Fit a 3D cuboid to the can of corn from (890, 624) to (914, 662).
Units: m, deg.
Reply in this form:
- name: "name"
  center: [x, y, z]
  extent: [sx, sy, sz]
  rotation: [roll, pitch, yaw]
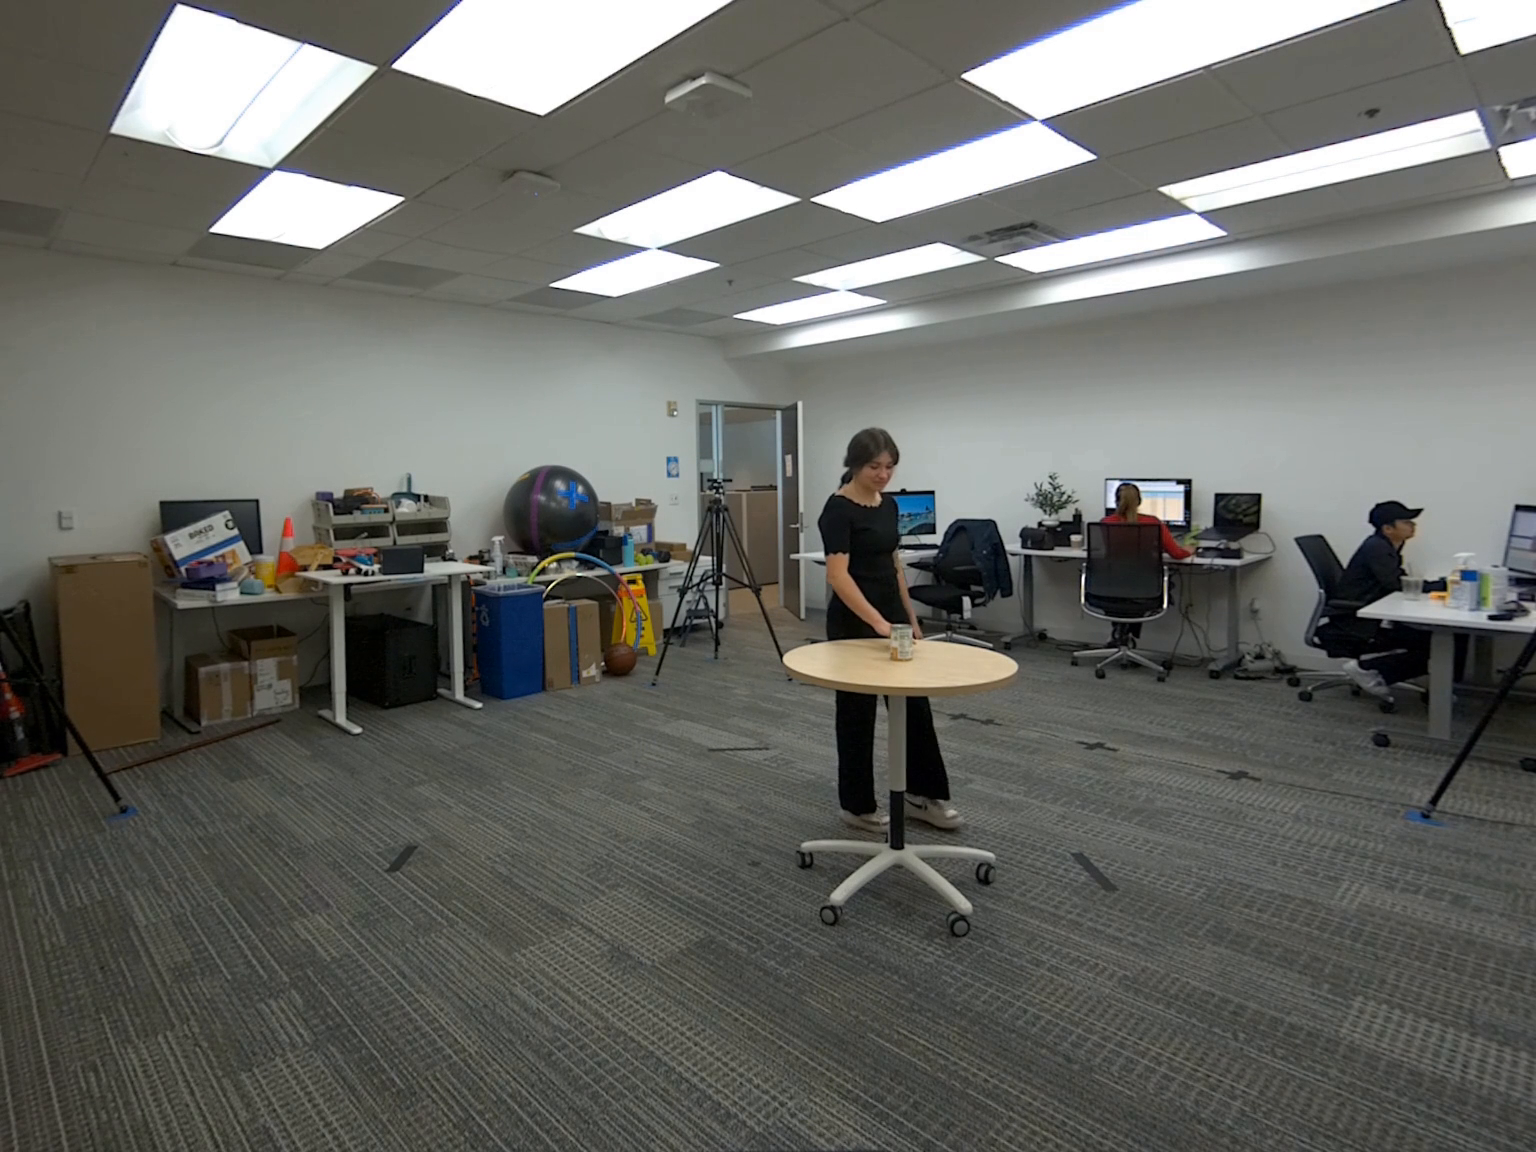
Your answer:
- name: "can of corn"
  center: [0.447, 0.225, 2.862]
  extent: [0.074, 0.110, 0.074]
  rotation: [0, 5, -2]
